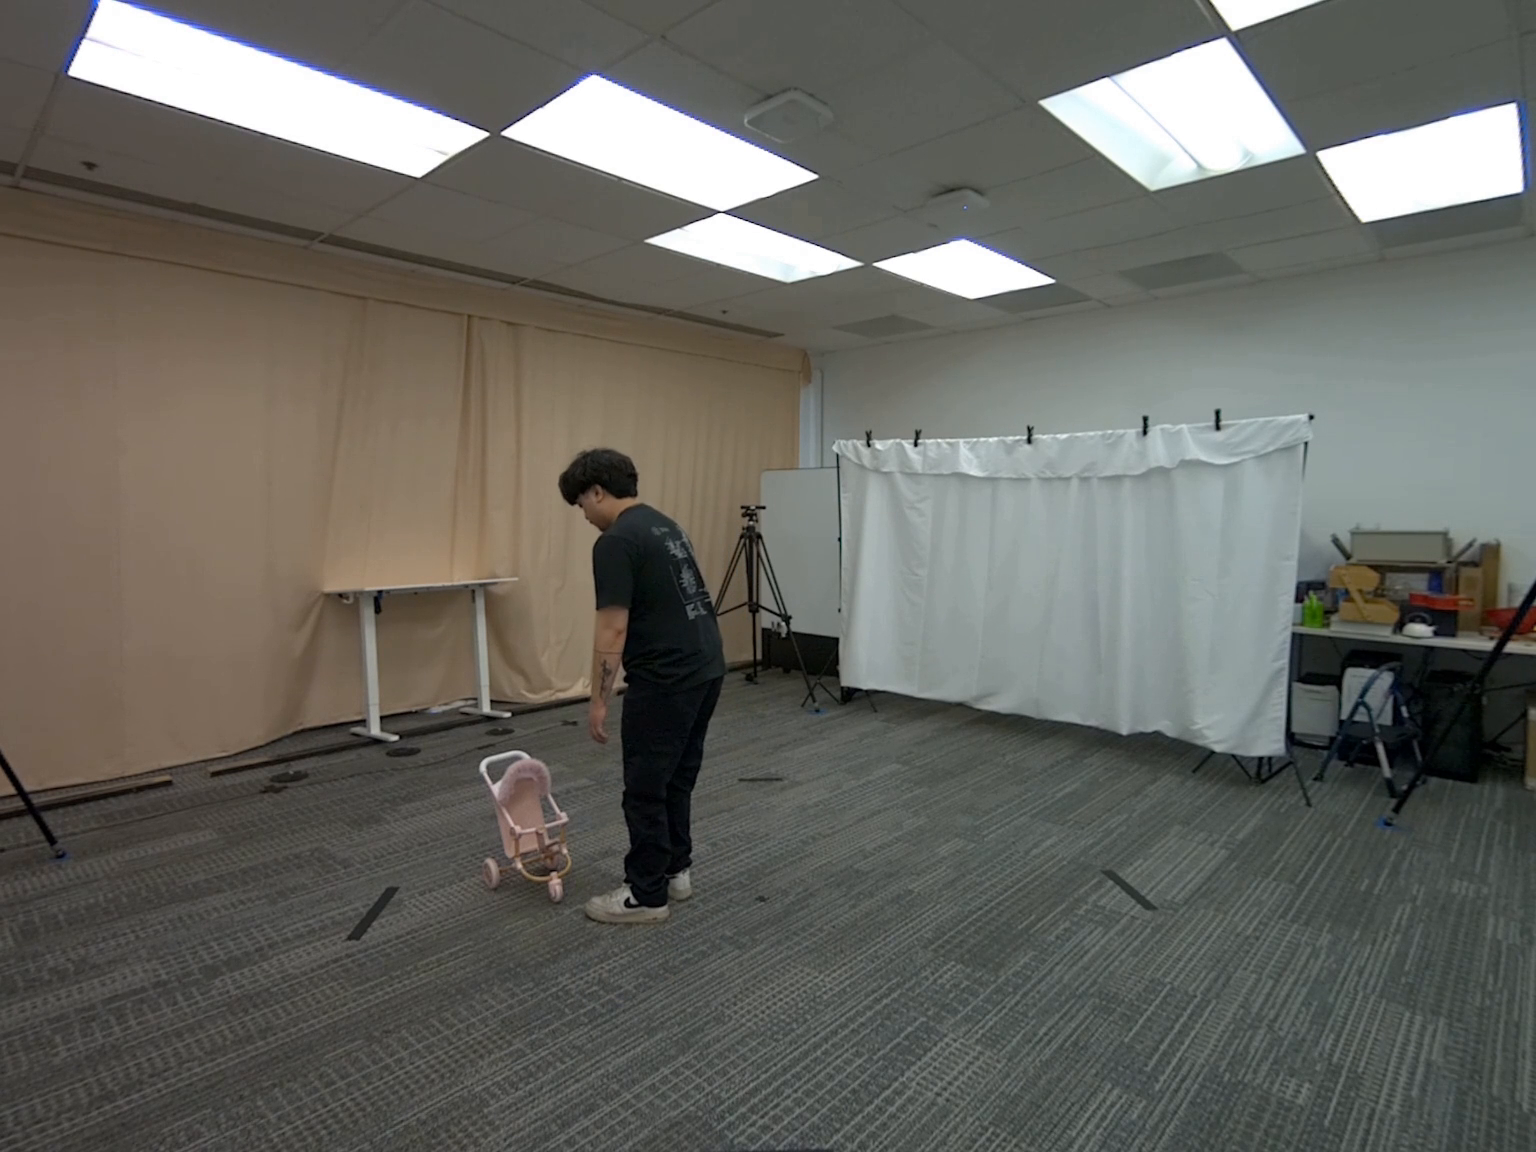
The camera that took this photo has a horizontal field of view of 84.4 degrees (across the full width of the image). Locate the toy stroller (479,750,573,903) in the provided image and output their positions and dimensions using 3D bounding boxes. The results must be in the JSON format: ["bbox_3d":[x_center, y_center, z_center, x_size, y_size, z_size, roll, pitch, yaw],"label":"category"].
[{"bbox_3d":[-0.885,0.919,3.105,0.273,0.539,0.349,-3,-11,-38],"label":"toy stroller"}]
